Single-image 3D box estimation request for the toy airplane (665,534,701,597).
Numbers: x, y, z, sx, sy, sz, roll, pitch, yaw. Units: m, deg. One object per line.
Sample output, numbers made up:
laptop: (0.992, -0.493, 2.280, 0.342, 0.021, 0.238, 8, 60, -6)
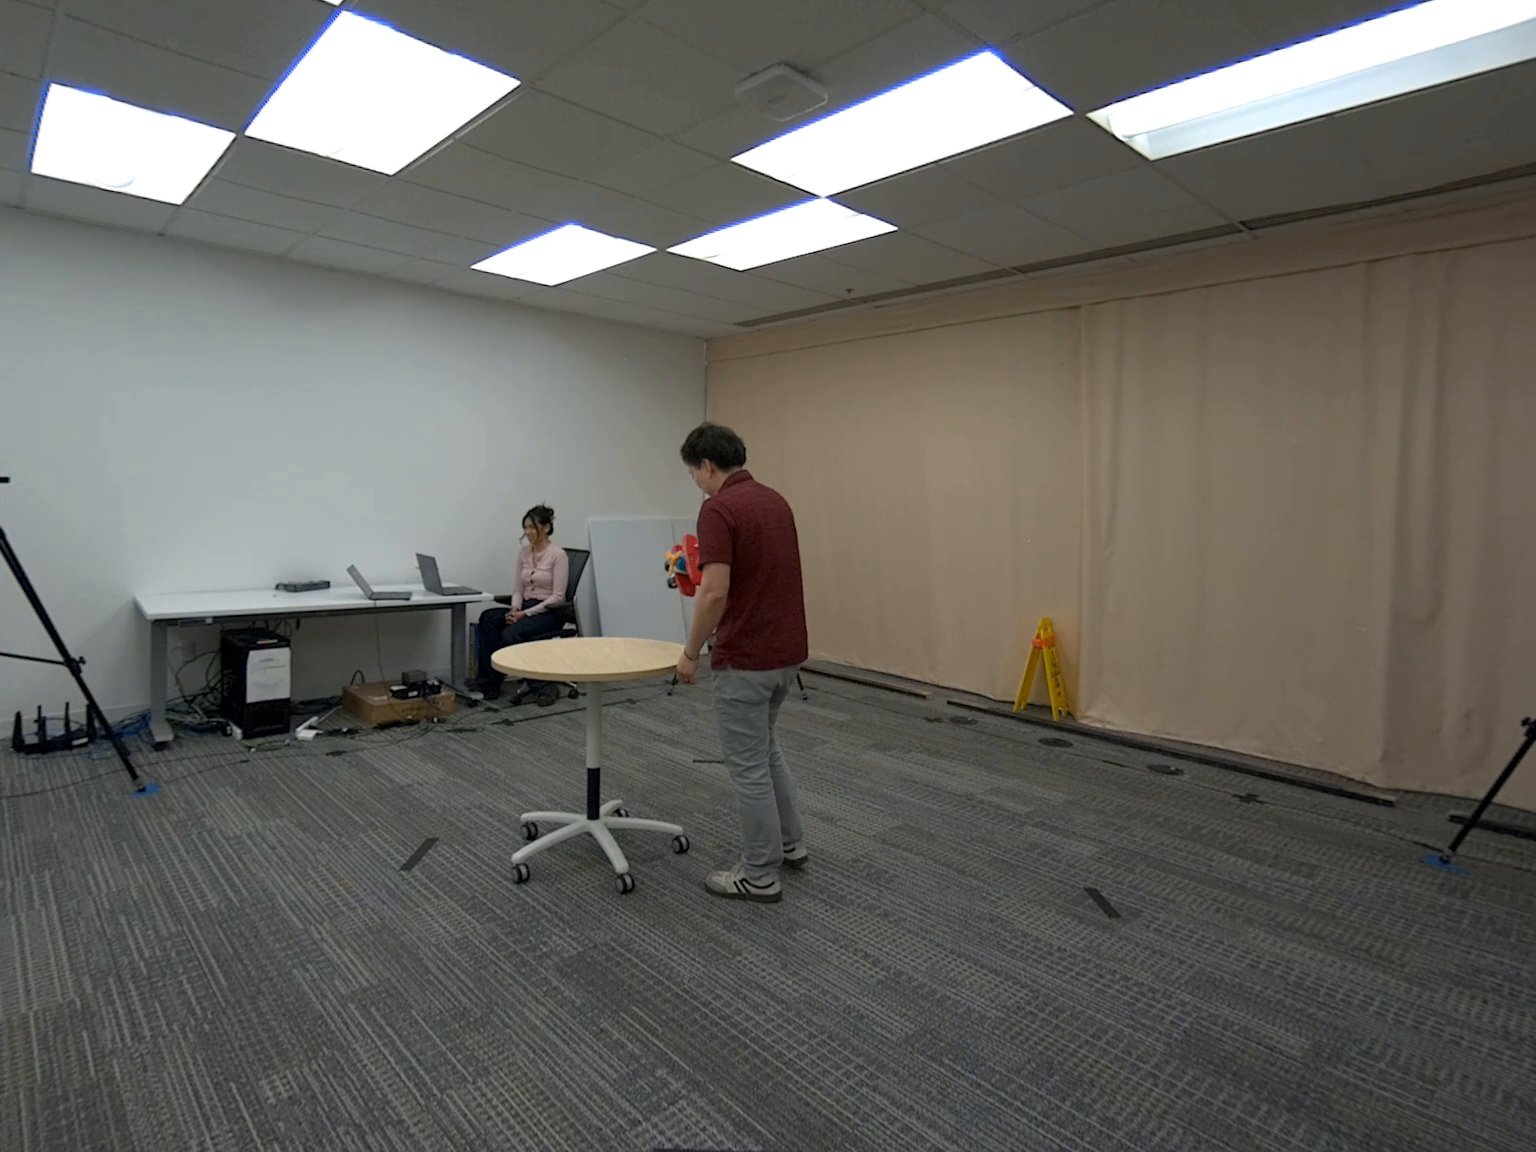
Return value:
toy airplane: (-0.290, -0.042, 3.419, 0.256, 0.256, 0.155, -22, -25, -37)
